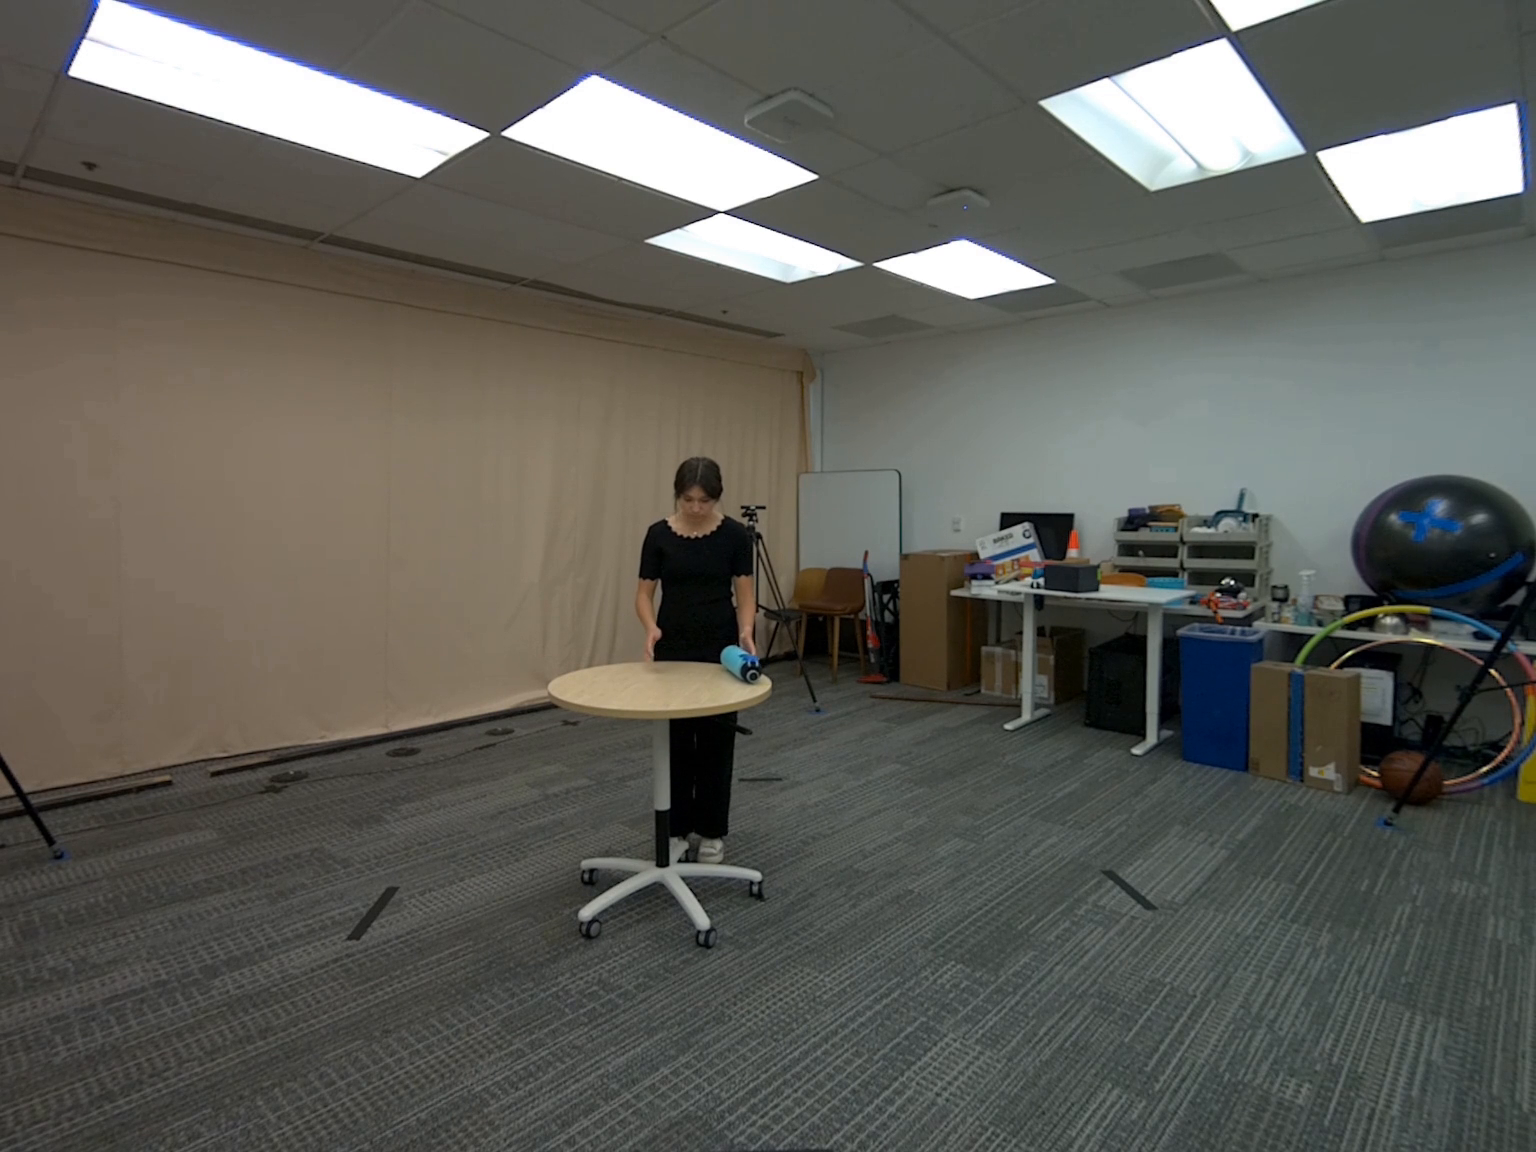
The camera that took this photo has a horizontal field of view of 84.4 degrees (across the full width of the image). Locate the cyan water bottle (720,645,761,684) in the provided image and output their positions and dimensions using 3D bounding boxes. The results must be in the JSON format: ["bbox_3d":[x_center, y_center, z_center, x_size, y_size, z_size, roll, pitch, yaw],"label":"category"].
[{"bbox_3d":[-0.108,0.311,2.991,0.090,0.092,0.290,-2,4,-22],"label":"cyan water bottle"}]
